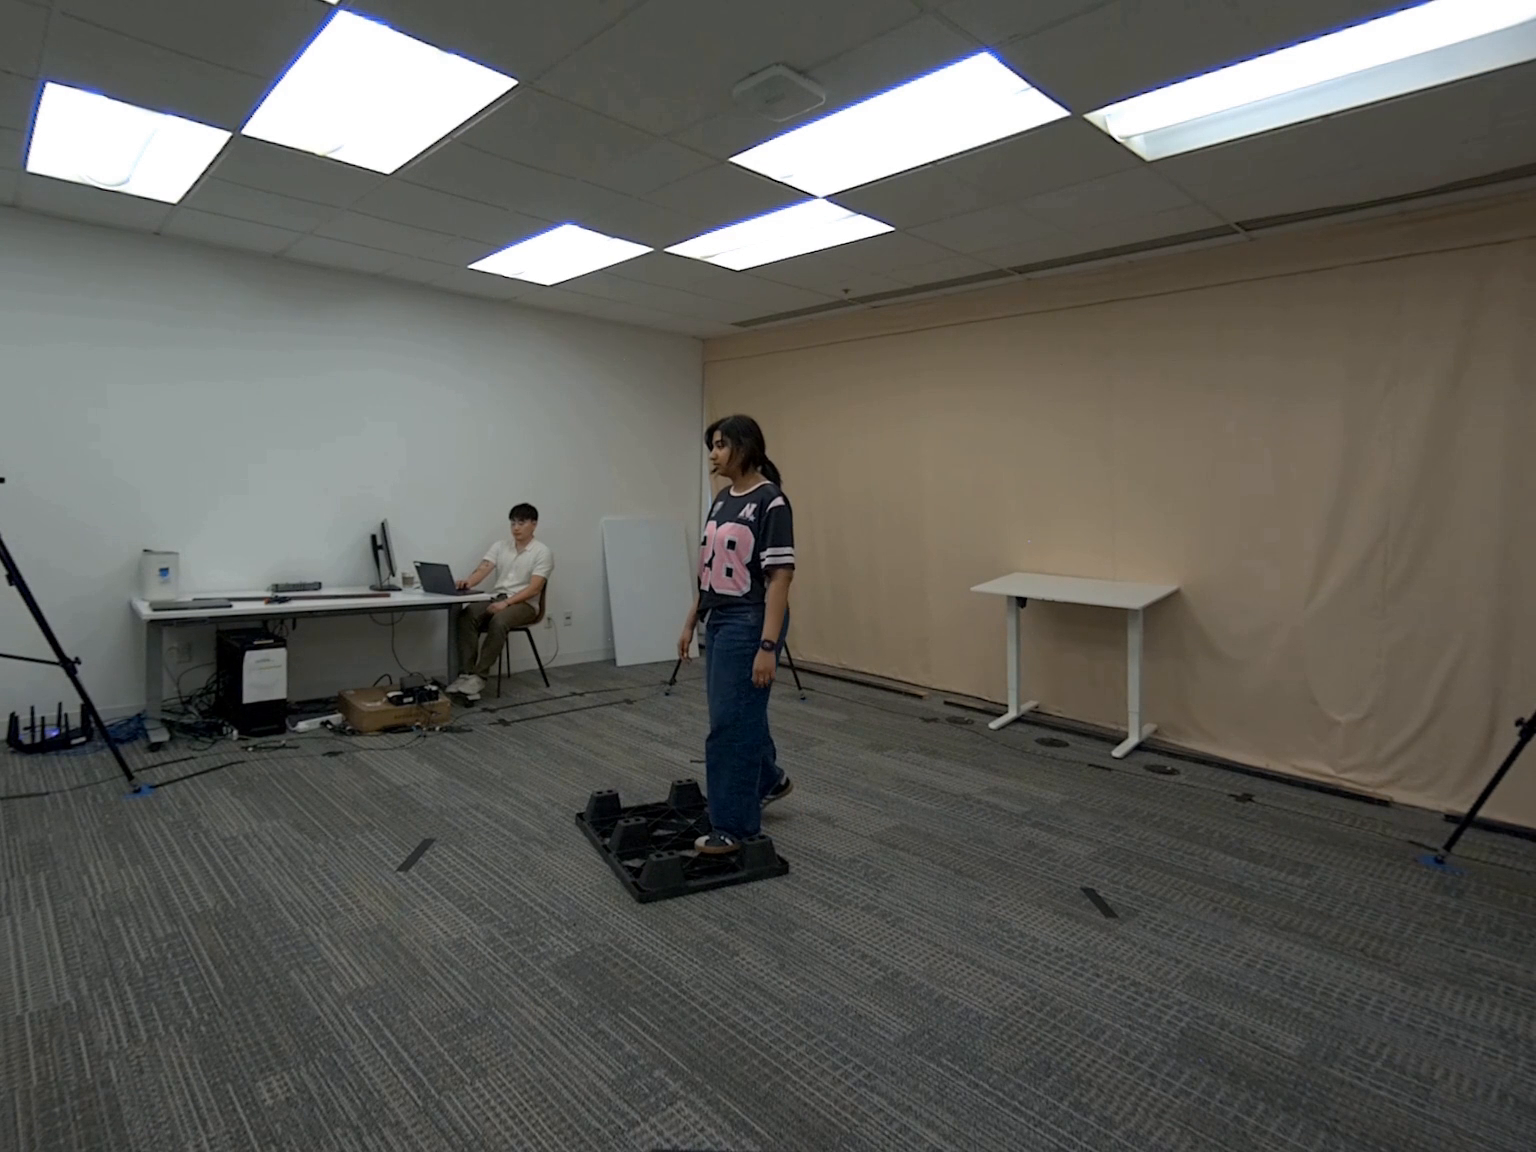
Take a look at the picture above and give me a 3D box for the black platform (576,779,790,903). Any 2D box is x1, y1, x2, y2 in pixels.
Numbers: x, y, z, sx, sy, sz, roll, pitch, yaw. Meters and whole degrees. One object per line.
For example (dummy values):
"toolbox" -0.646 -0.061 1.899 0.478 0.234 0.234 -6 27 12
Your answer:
"black platform" -0.368 1.015 3.338 0.593 0.143 0.824 -2 6 -28
